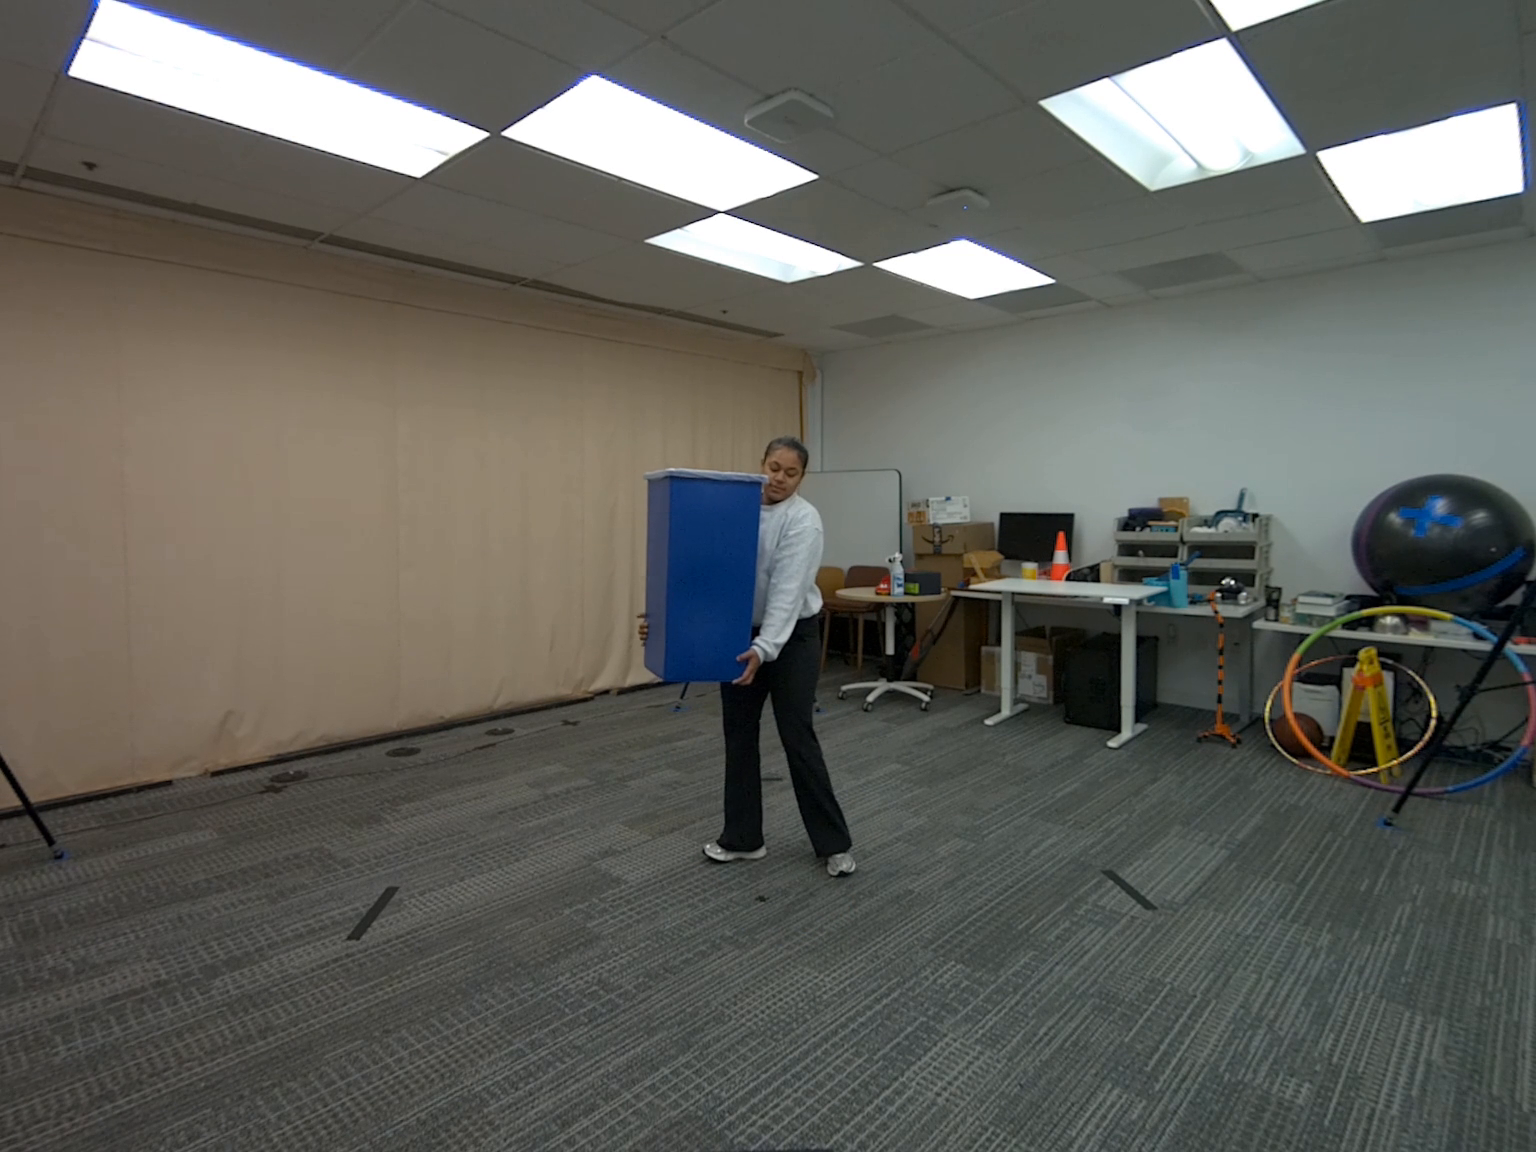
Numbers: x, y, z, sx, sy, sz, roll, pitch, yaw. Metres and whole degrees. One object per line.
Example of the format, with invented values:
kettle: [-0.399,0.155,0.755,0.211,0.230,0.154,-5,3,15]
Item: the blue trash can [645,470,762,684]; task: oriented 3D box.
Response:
blue trash can: [-0.245,-0.007,3.008,0.370,0.712,0.383,2,3,-22]
